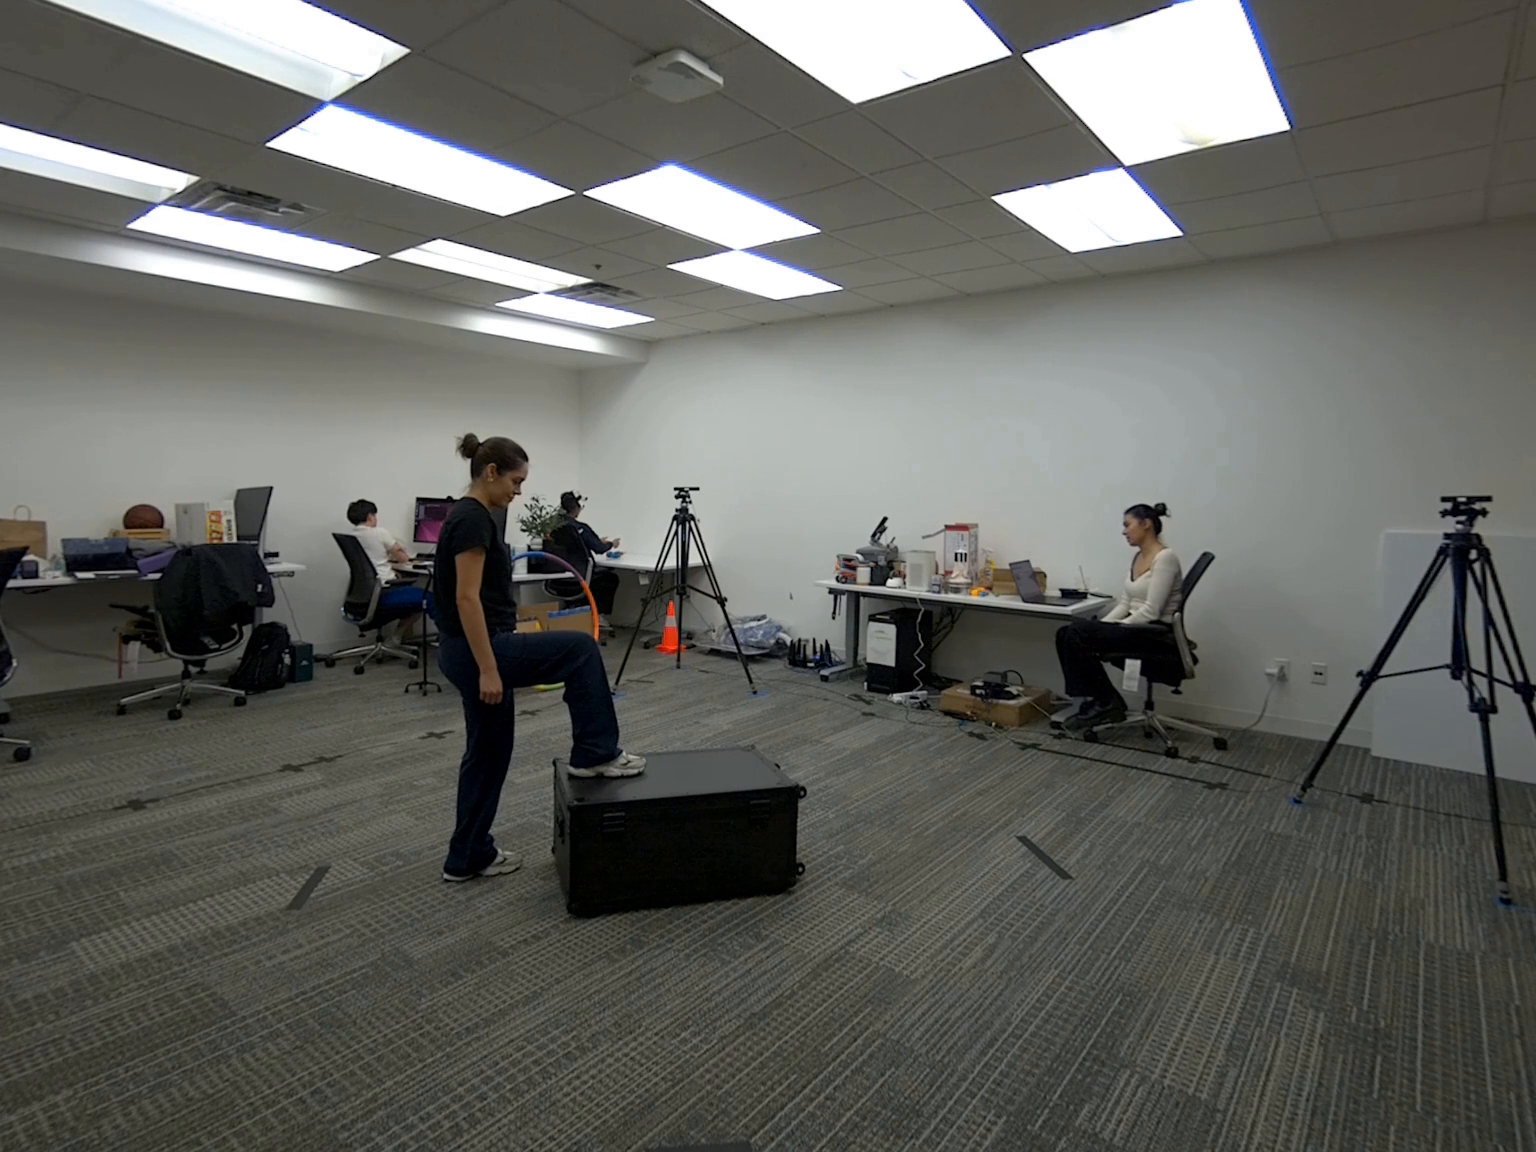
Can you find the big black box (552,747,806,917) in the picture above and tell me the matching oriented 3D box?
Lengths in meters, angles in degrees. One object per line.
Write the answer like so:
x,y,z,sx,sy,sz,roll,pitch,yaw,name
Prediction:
-0.302,0.875,3.056,0.846,0.395,0.533,-1,5,-18,big black box
